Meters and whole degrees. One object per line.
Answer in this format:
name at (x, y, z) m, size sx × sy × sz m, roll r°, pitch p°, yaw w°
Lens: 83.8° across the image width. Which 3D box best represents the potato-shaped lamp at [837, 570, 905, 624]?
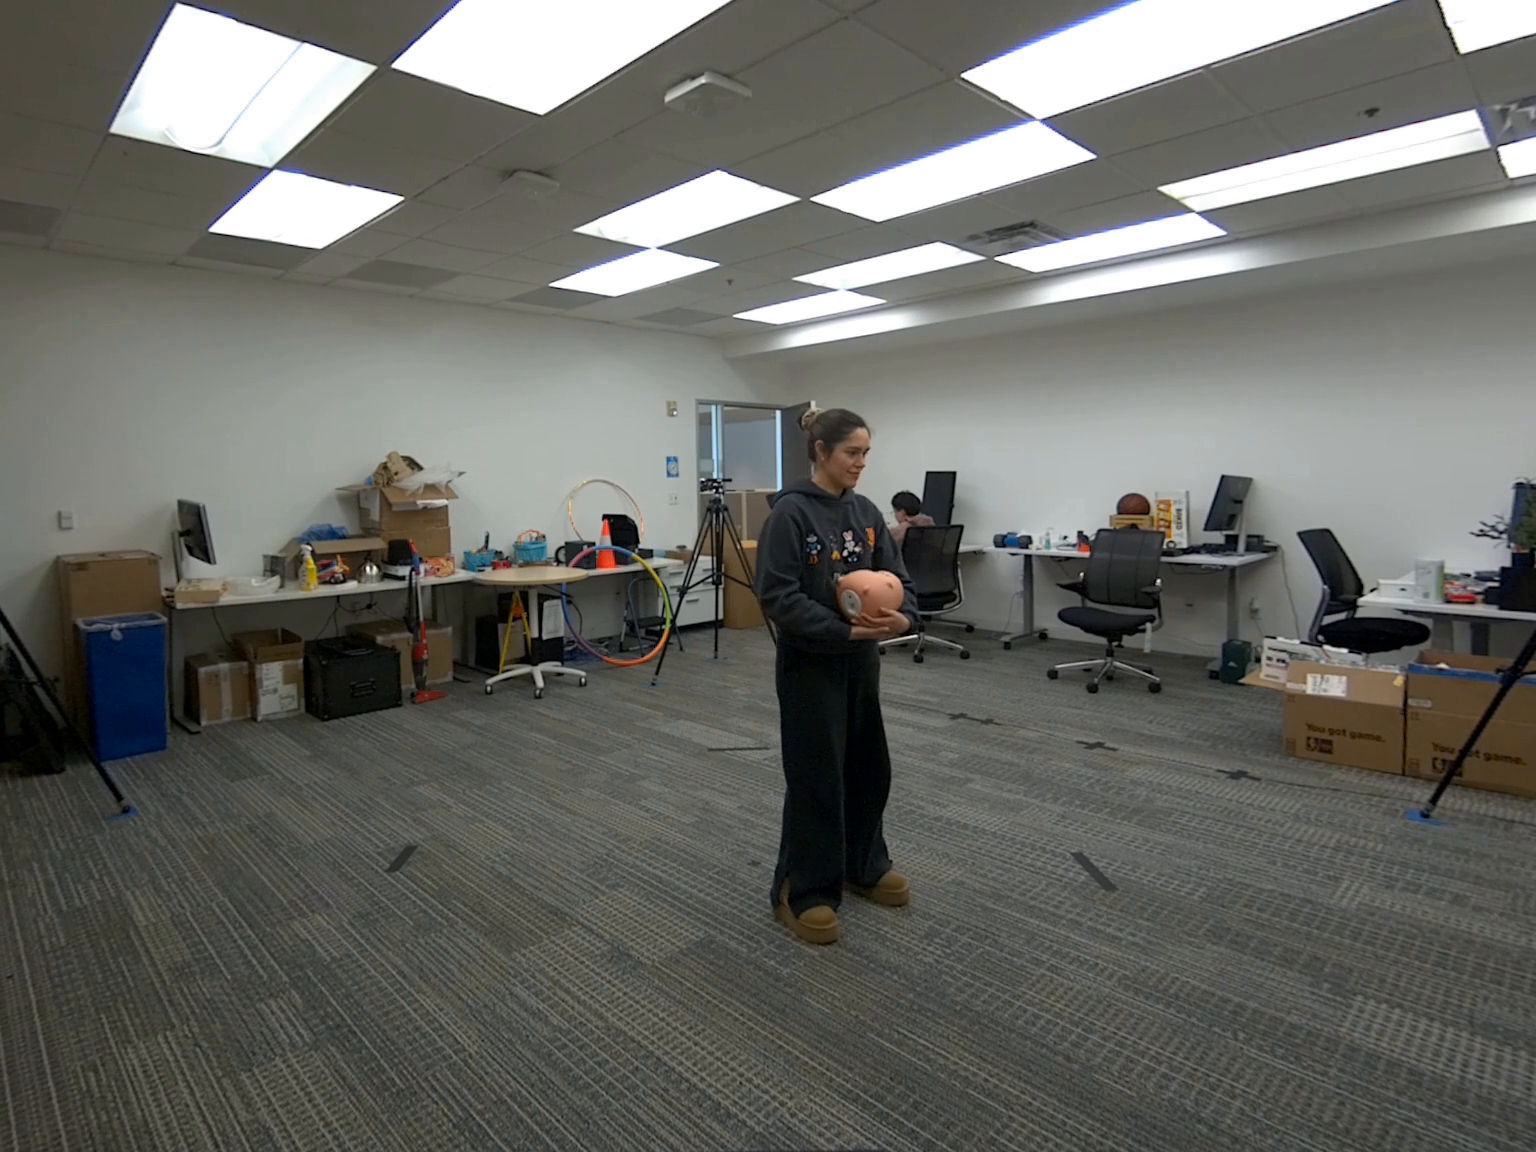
potato-shaped lamp at (0.300, 0.052, 2.544) m, size 0.195 × 0.168 × 0.170 m, roll -22°, pitch 25°, yaw -38°
